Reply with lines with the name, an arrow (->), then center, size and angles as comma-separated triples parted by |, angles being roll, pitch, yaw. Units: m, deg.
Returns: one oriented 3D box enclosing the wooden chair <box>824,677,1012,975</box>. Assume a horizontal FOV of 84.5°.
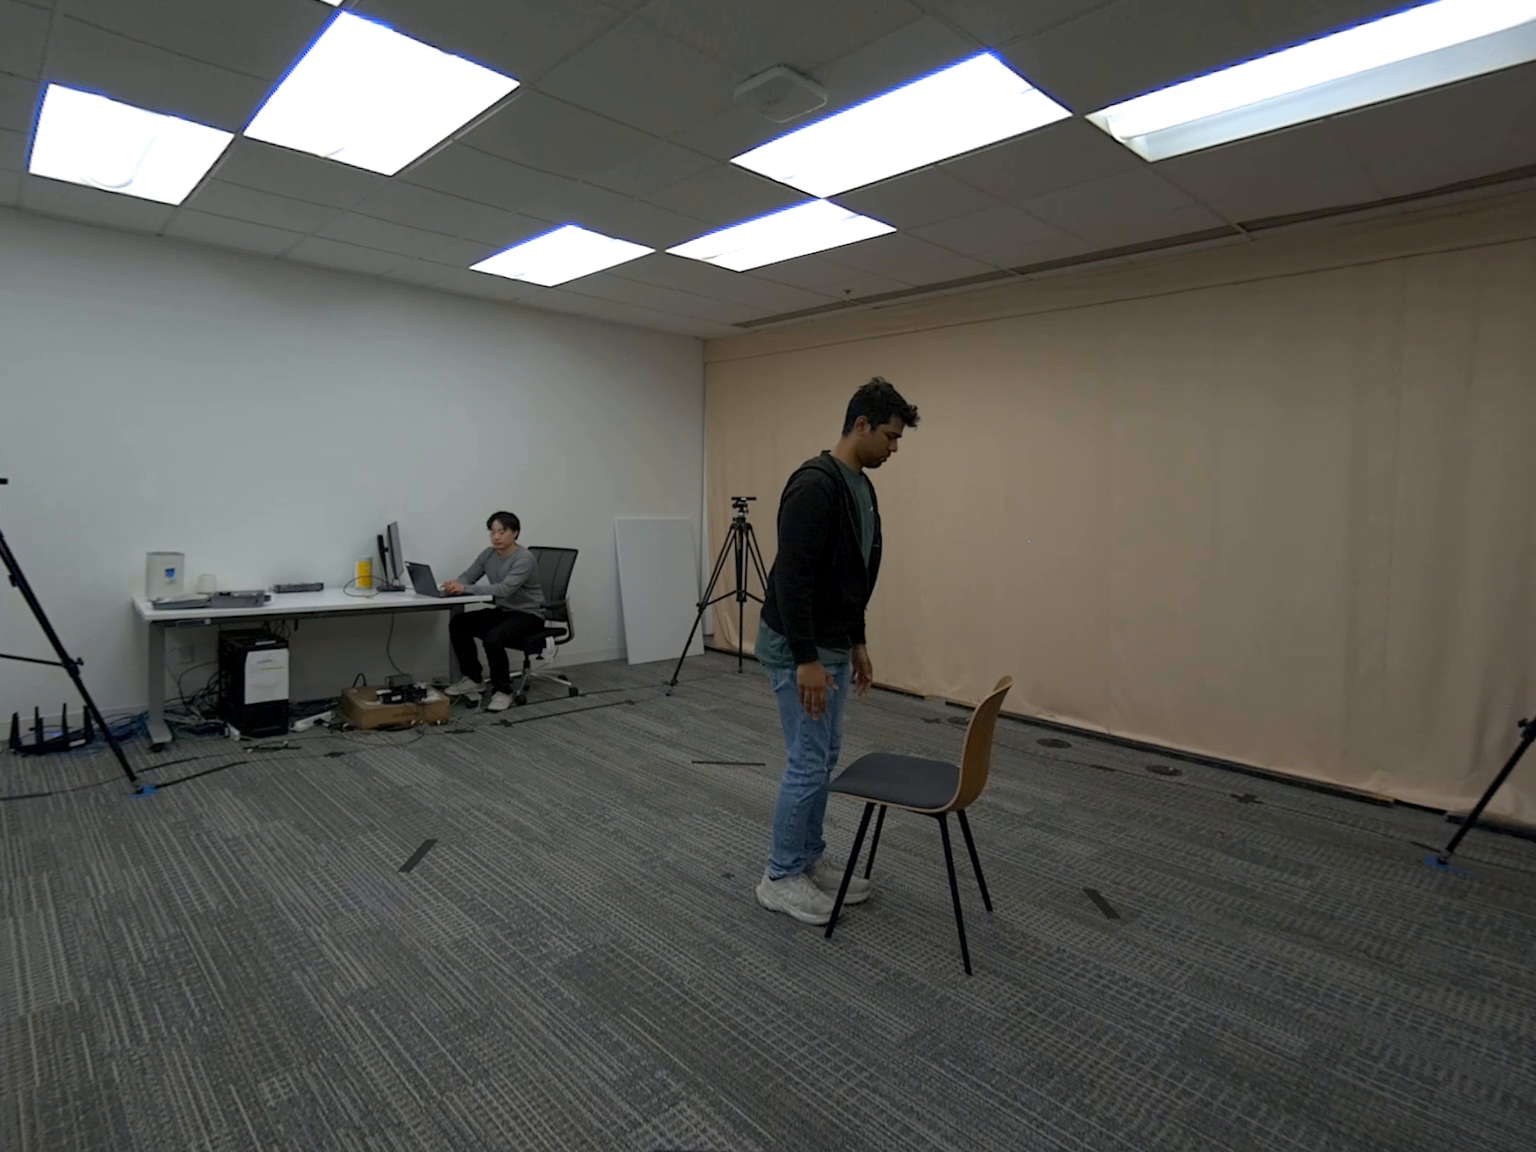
wooden chair -> 0.476, 0.724, 2.753 | 0.534, 0.874, 0.470 | 8, 6, 24
